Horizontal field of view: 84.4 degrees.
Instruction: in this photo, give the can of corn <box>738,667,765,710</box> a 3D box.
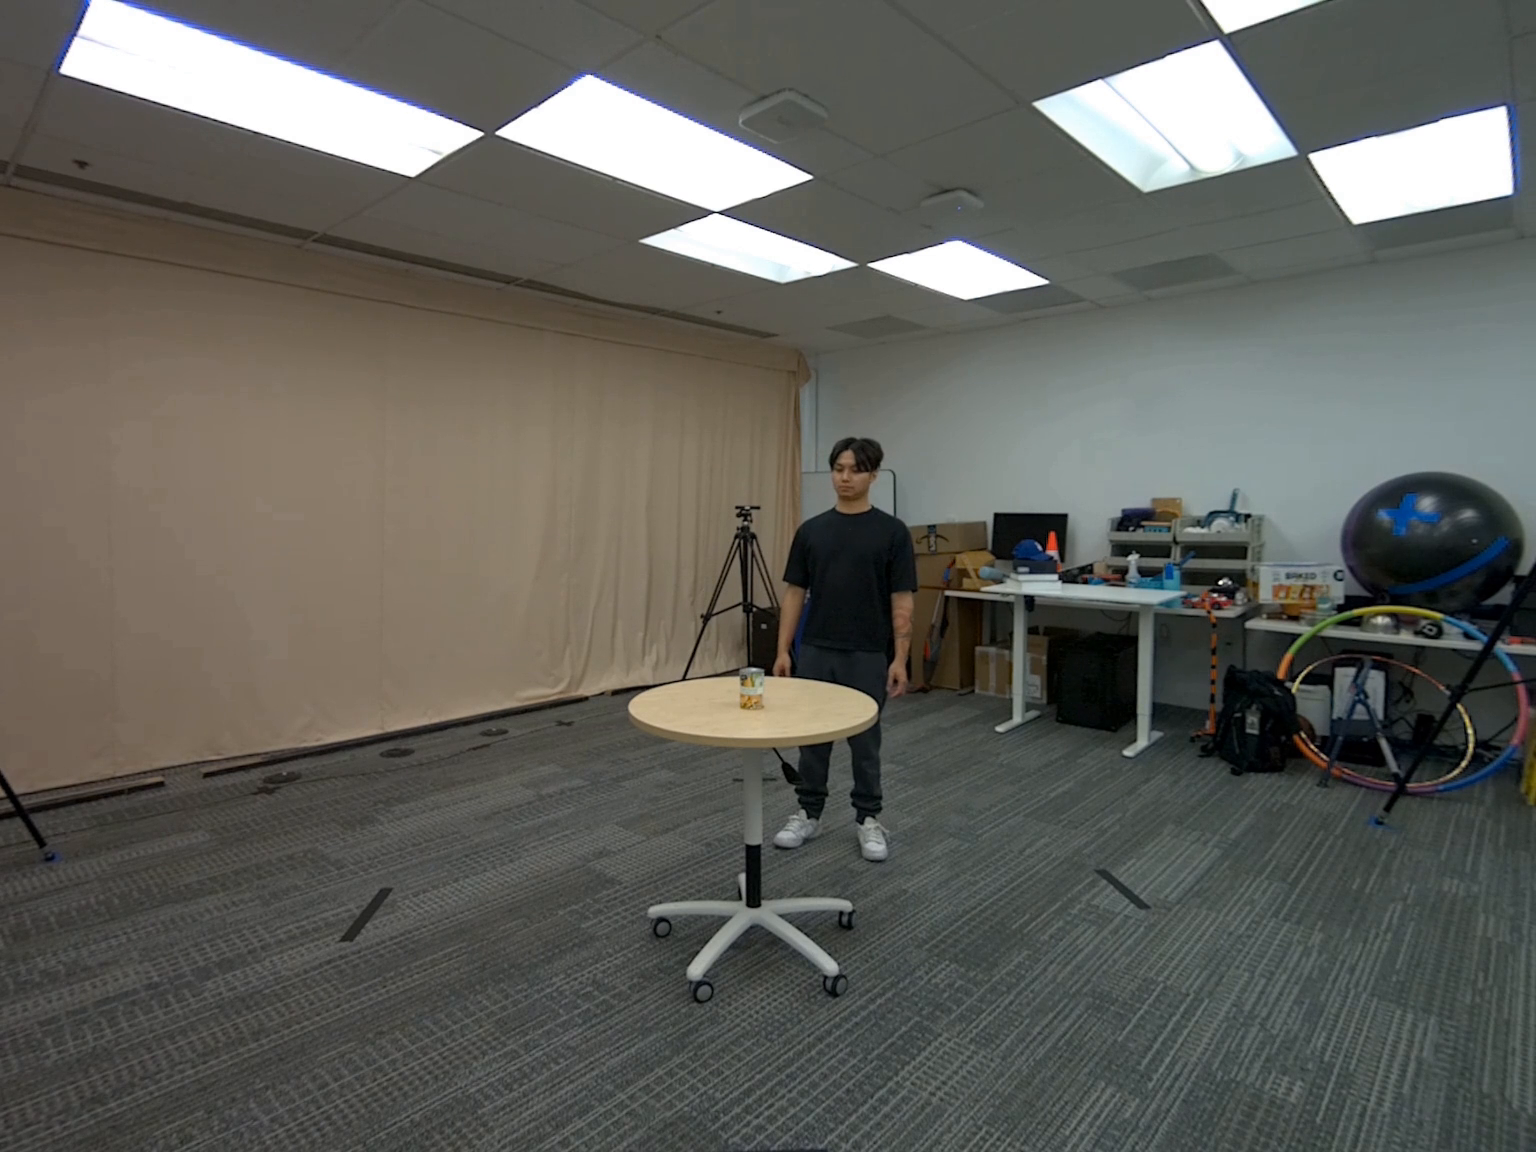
[{"bbox_3d":[-0.045,0.347,2.541,0.074,0.110,0.074,-3,7,-2],"label":"can of corn"}]
